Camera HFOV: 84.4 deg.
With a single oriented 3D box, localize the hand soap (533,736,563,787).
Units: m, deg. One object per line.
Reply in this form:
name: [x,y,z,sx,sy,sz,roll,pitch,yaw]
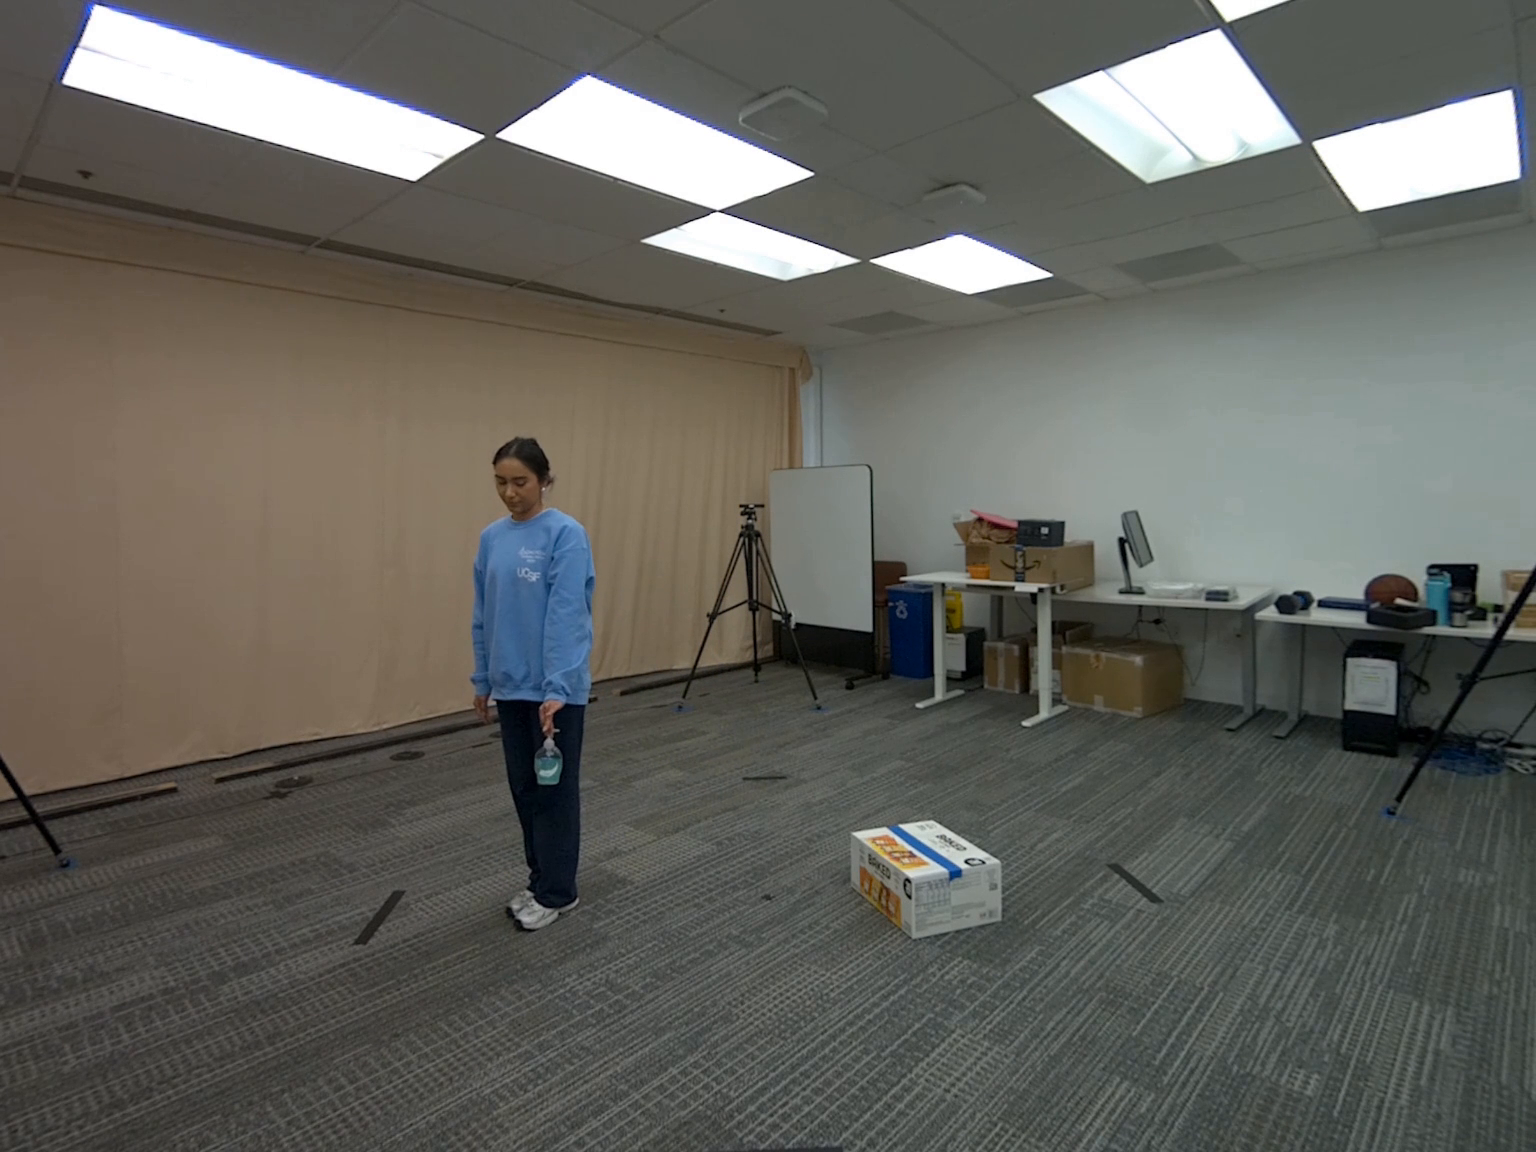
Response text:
hand soap: [-0.670,0.557,2.627,0.085,0.168,0.043,-3,1,2]
